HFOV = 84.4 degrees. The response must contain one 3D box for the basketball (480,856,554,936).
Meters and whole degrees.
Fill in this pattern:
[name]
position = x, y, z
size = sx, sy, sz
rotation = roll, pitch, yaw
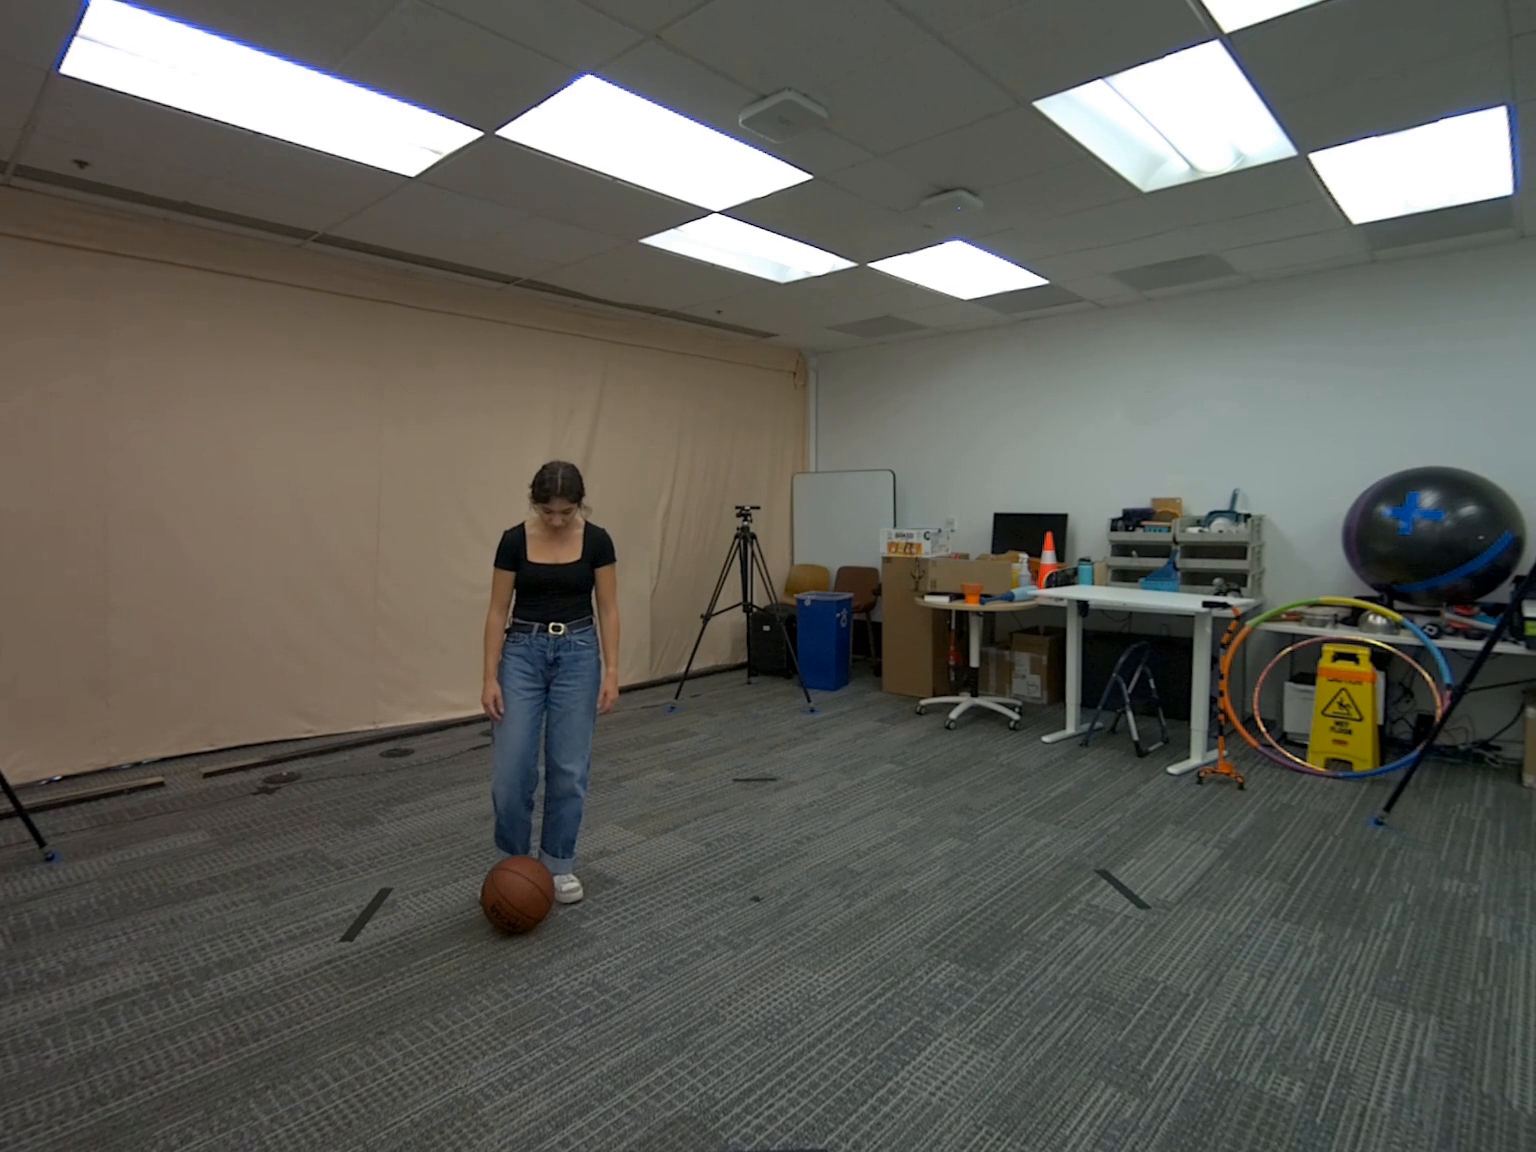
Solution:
[basketball]
position = -0.828, 1.040, 2.784
size = 0.236, 0.235, 0.237
rotation = 0, 4, -2
